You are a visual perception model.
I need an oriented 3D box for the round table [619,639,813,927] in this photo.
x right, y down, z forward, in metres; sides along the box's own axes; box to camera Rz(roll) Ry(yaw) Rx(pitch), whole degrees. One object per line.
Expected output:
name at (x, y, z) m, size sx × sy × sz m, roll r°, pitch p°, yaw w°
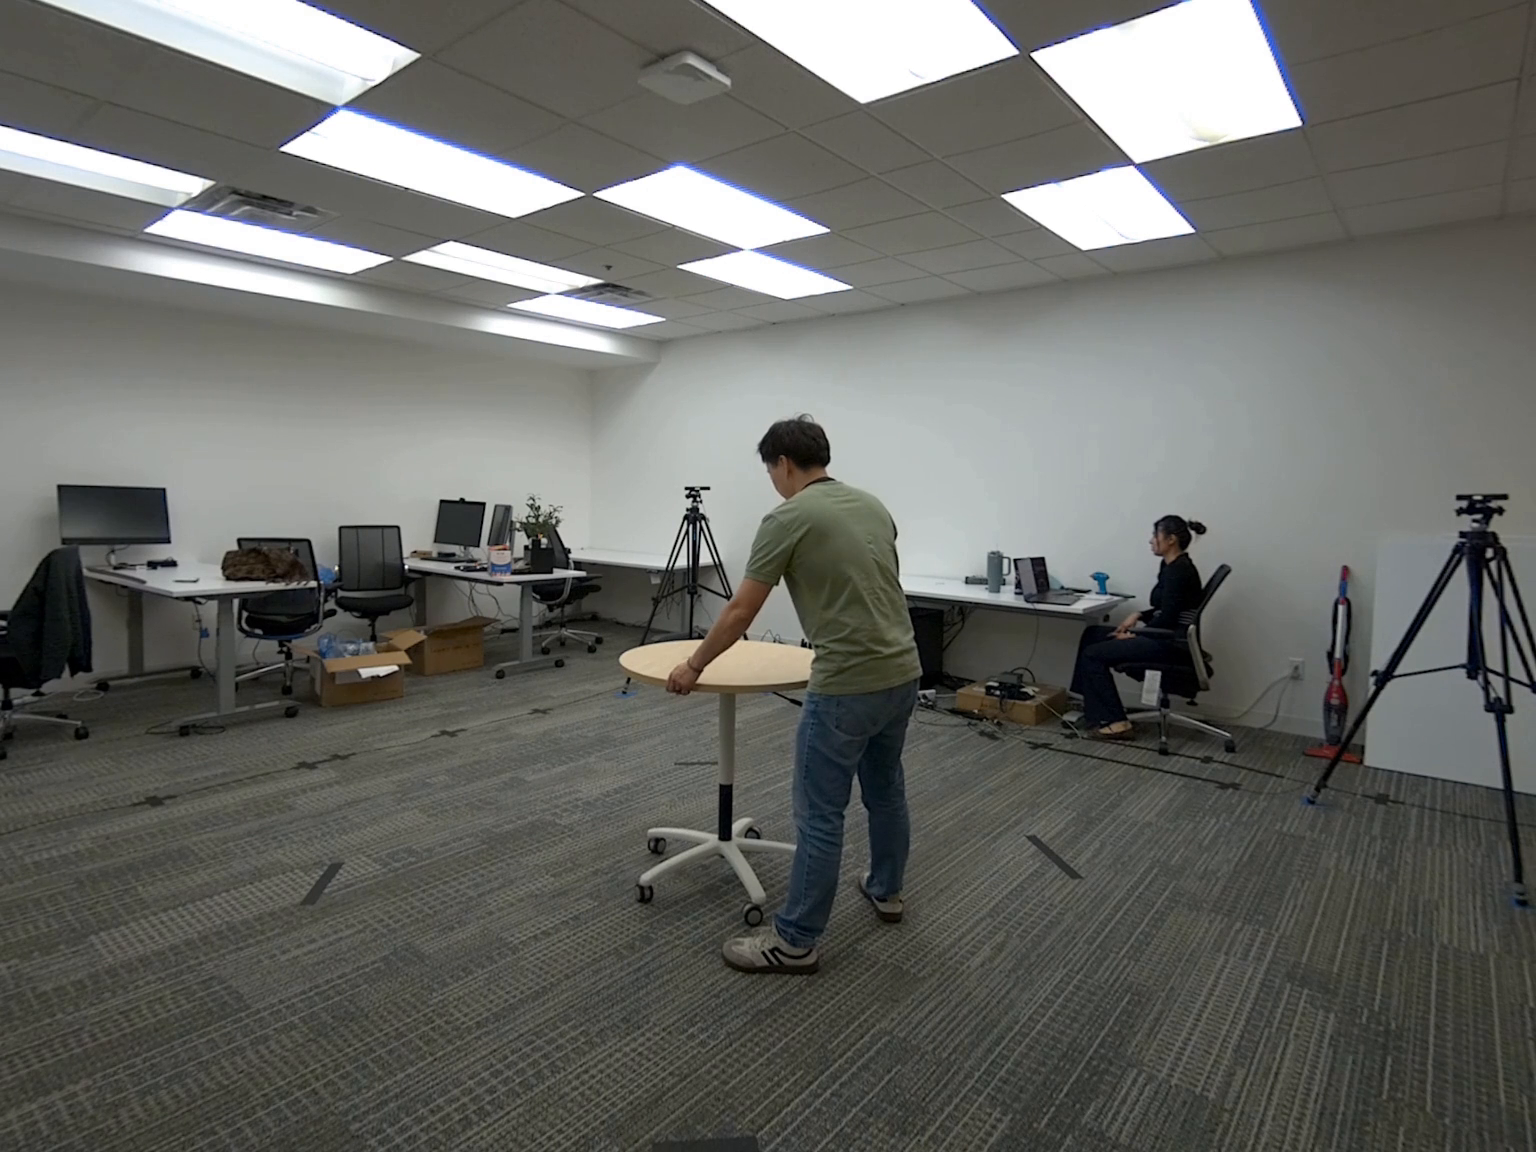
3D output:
round table at (-0.157, 0.684, 3.011) m, size 0.763 × 0.791 × 0.768 m, roll 1°, pitch 4°, yaw -2°
